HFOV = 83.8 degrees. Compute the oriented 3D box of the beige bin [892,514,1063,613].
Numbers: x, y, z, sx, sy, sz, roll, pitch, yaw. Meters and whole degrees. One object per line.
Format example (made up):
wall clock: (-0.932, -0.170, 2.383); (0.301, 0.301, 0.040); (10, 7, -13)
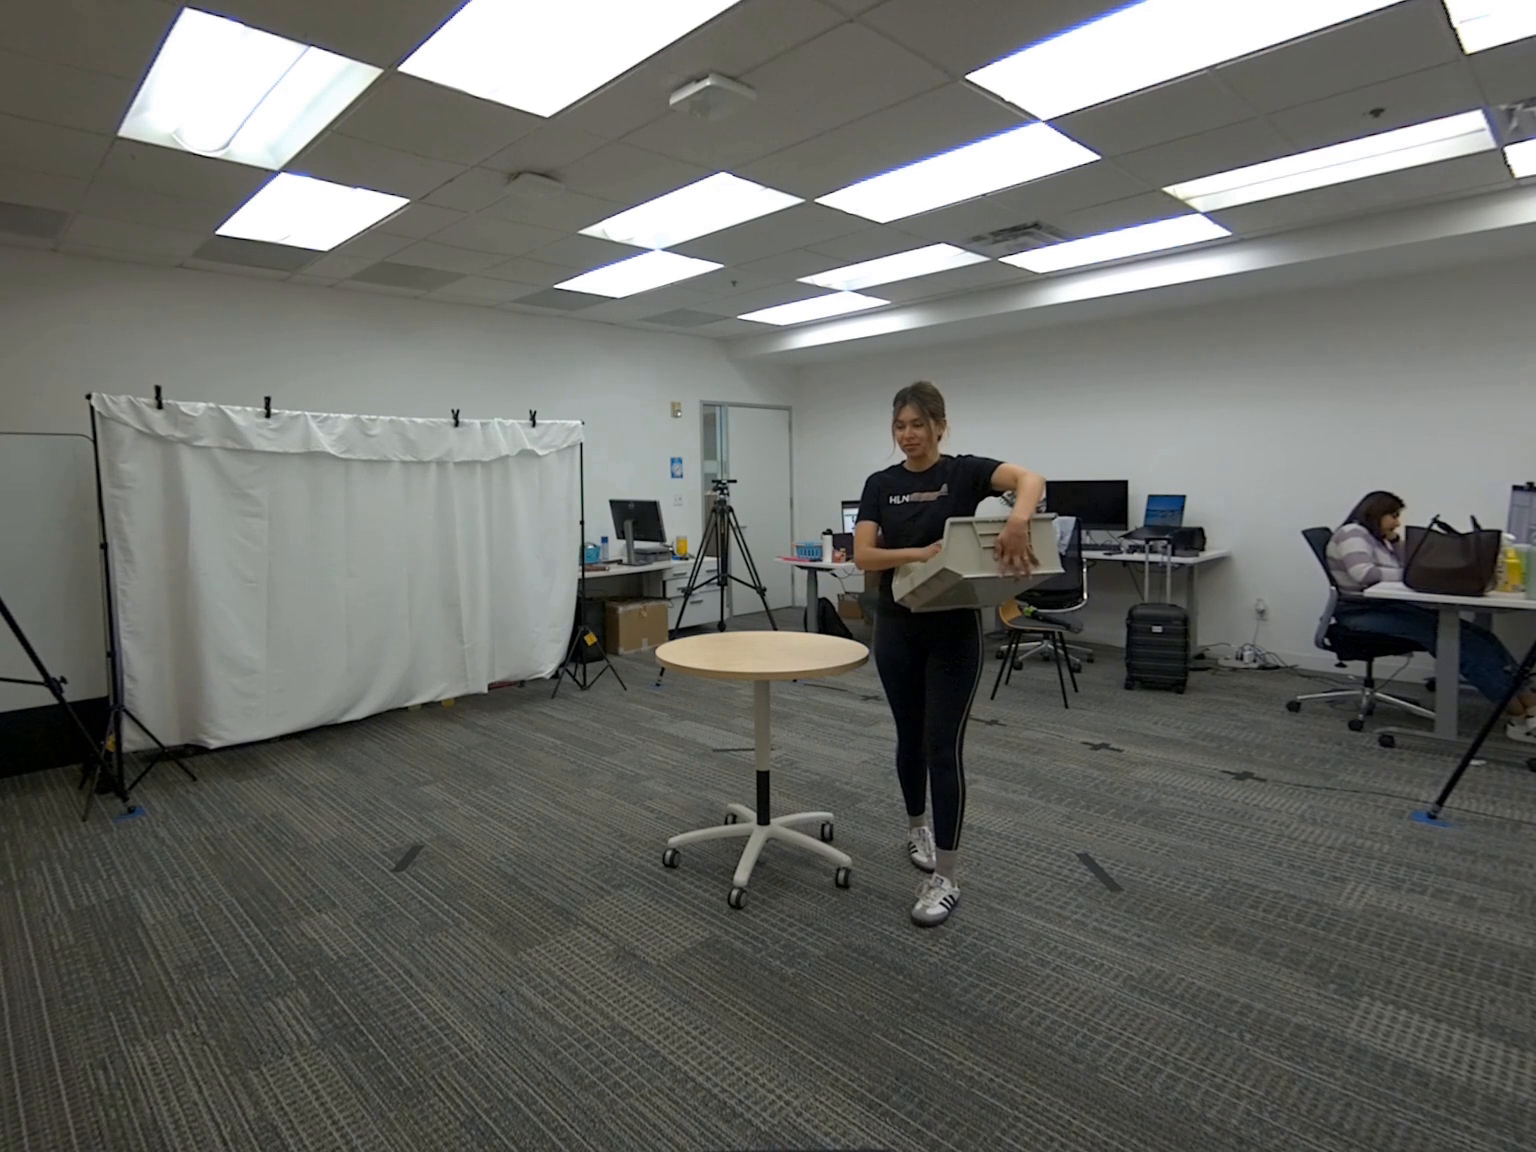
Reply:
beige bin: (0.623, -0.031, 2.645); (0.374, 0.192, 0.419); (-2, -17, -11)
